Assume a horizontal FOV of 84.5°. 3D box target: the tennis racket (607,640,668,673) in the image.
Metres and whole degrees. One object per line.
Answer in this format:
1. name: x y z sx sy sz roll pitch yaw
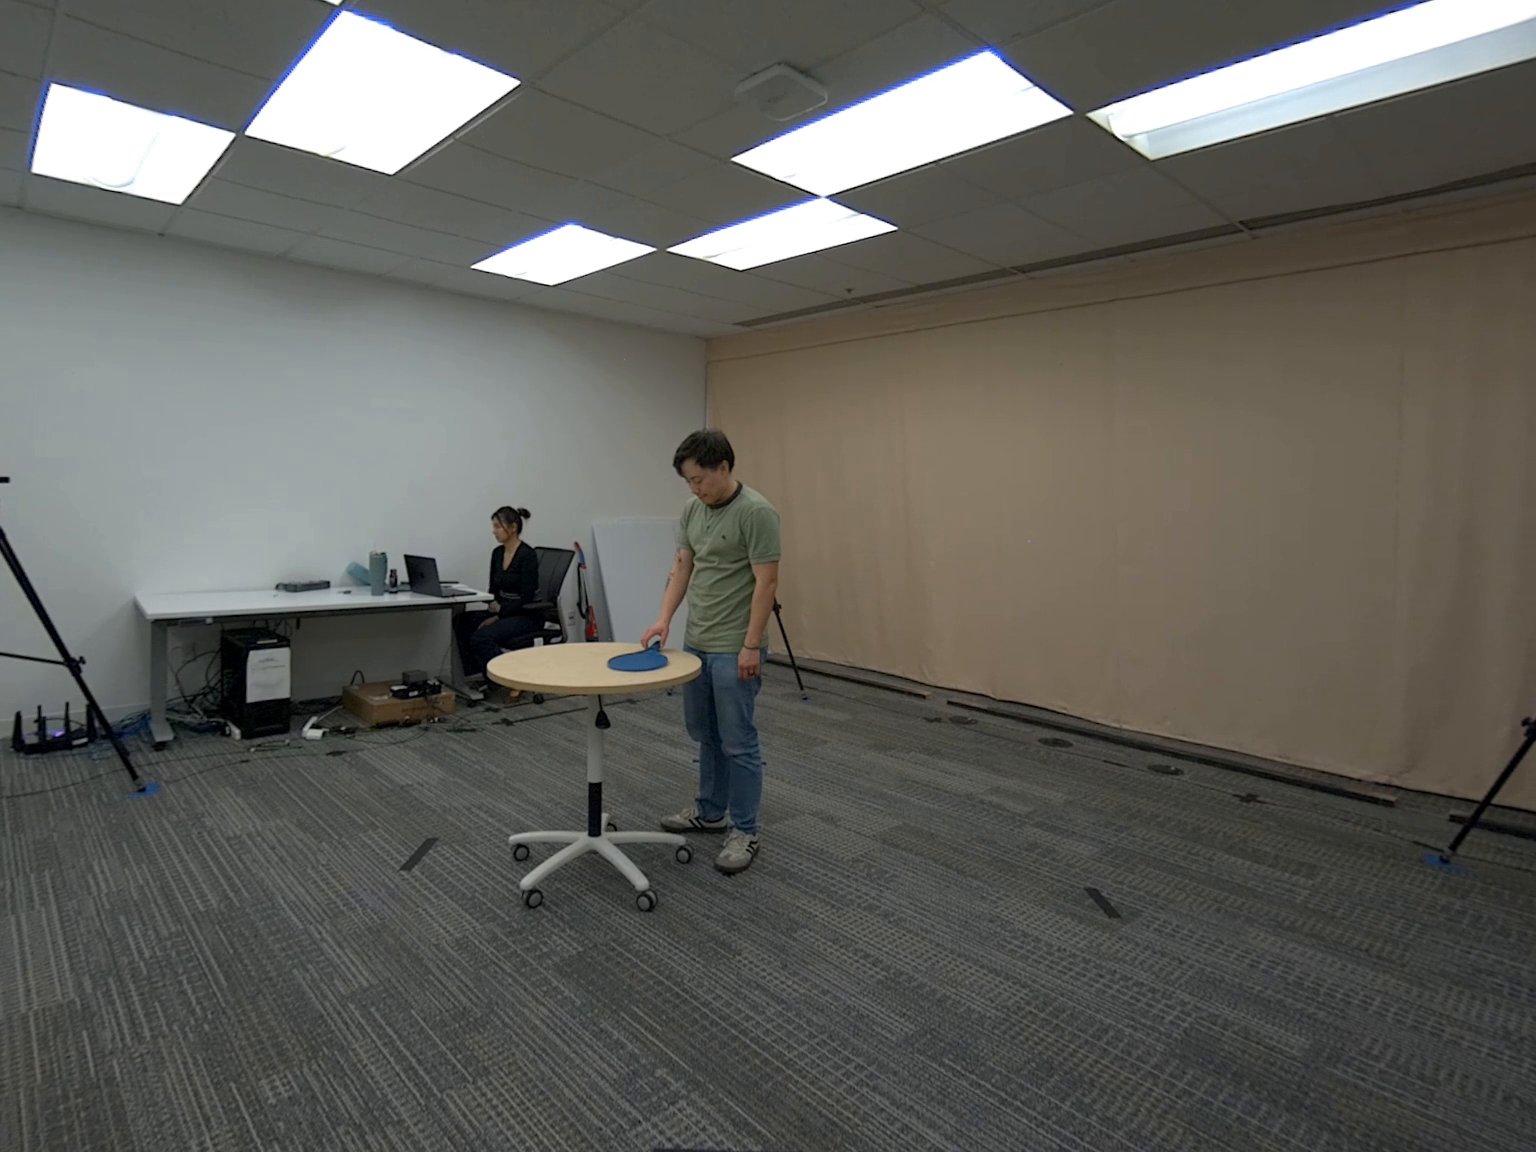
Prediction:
1. tennis racket: -0.452 0.300 3.115 0.216 0.031 0.431 2 8 11
